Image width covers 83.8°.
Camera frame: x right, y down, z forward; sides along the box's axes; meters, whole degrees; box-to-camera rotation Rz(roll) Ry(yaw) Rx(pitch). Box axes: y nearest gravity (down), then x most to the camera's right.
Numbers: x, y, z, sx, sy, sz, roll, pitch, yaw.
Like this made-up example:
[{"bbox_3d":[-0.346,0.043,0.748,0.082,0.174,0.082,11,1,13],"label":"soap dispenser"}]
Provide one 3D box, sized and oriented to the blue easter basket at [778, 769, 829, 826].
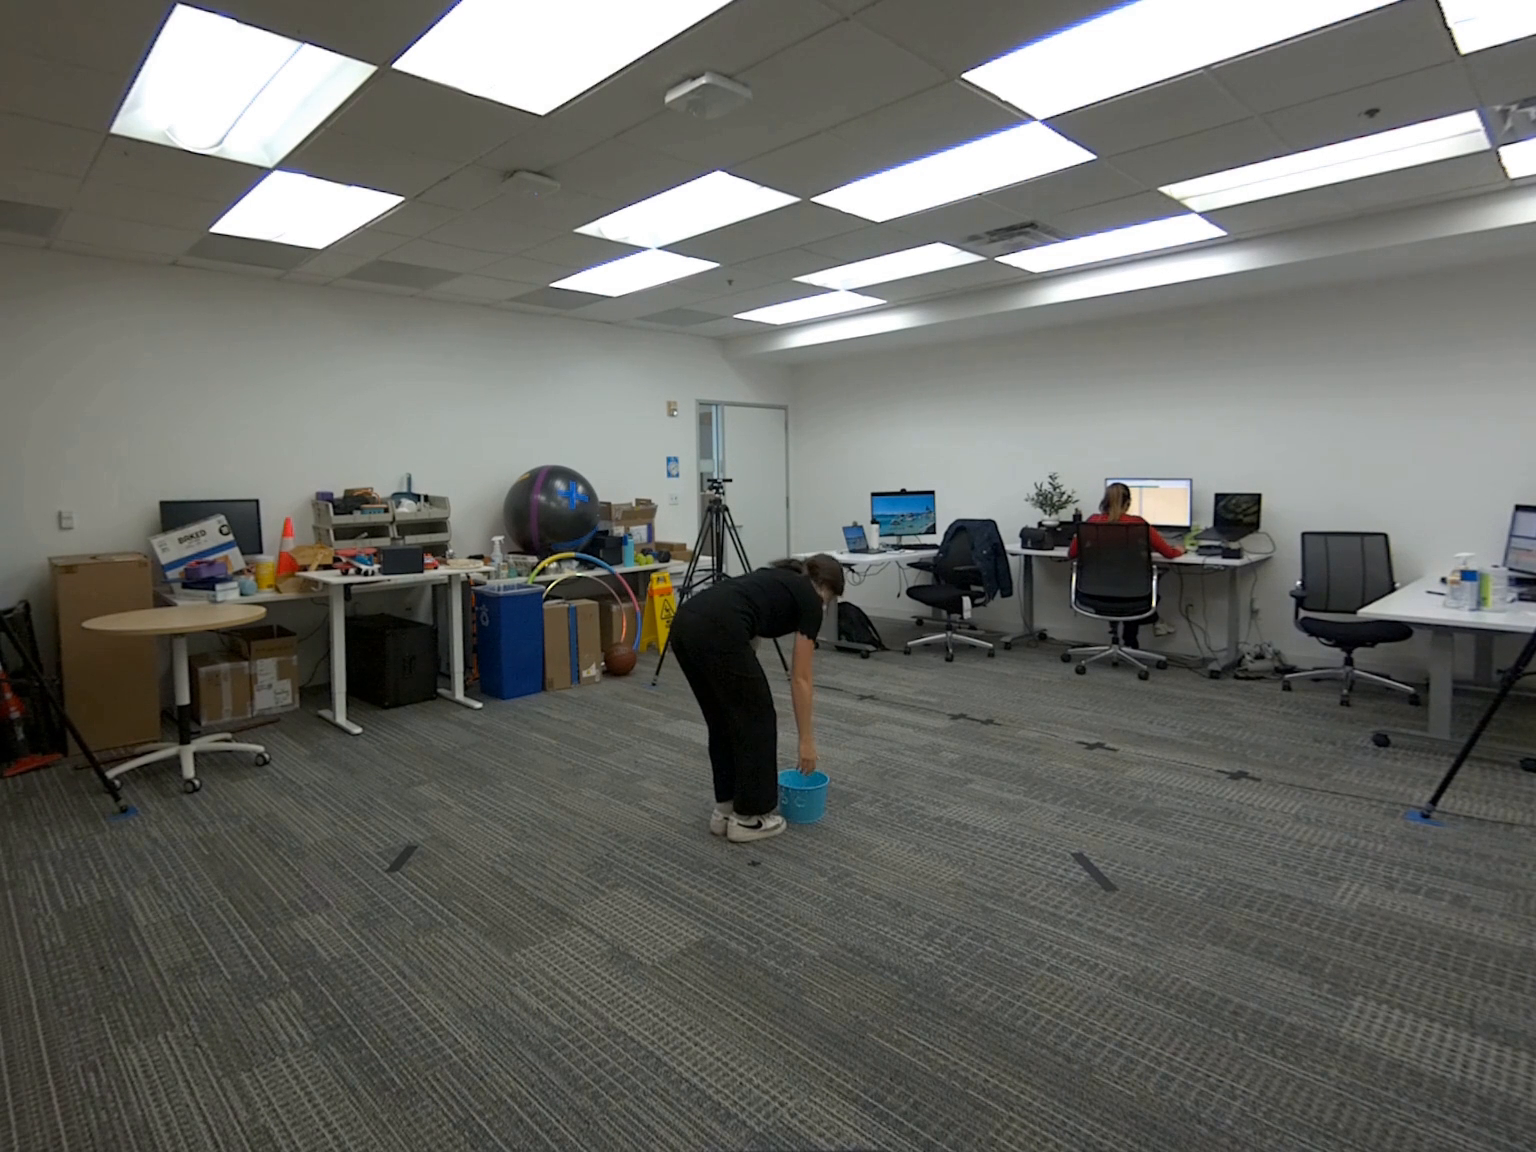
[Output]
[{"bbox_3d":[0.145,0.910,3.552,0.243,0.155,0.245,-1,6,-2],"label":"blue easter basket"}]
